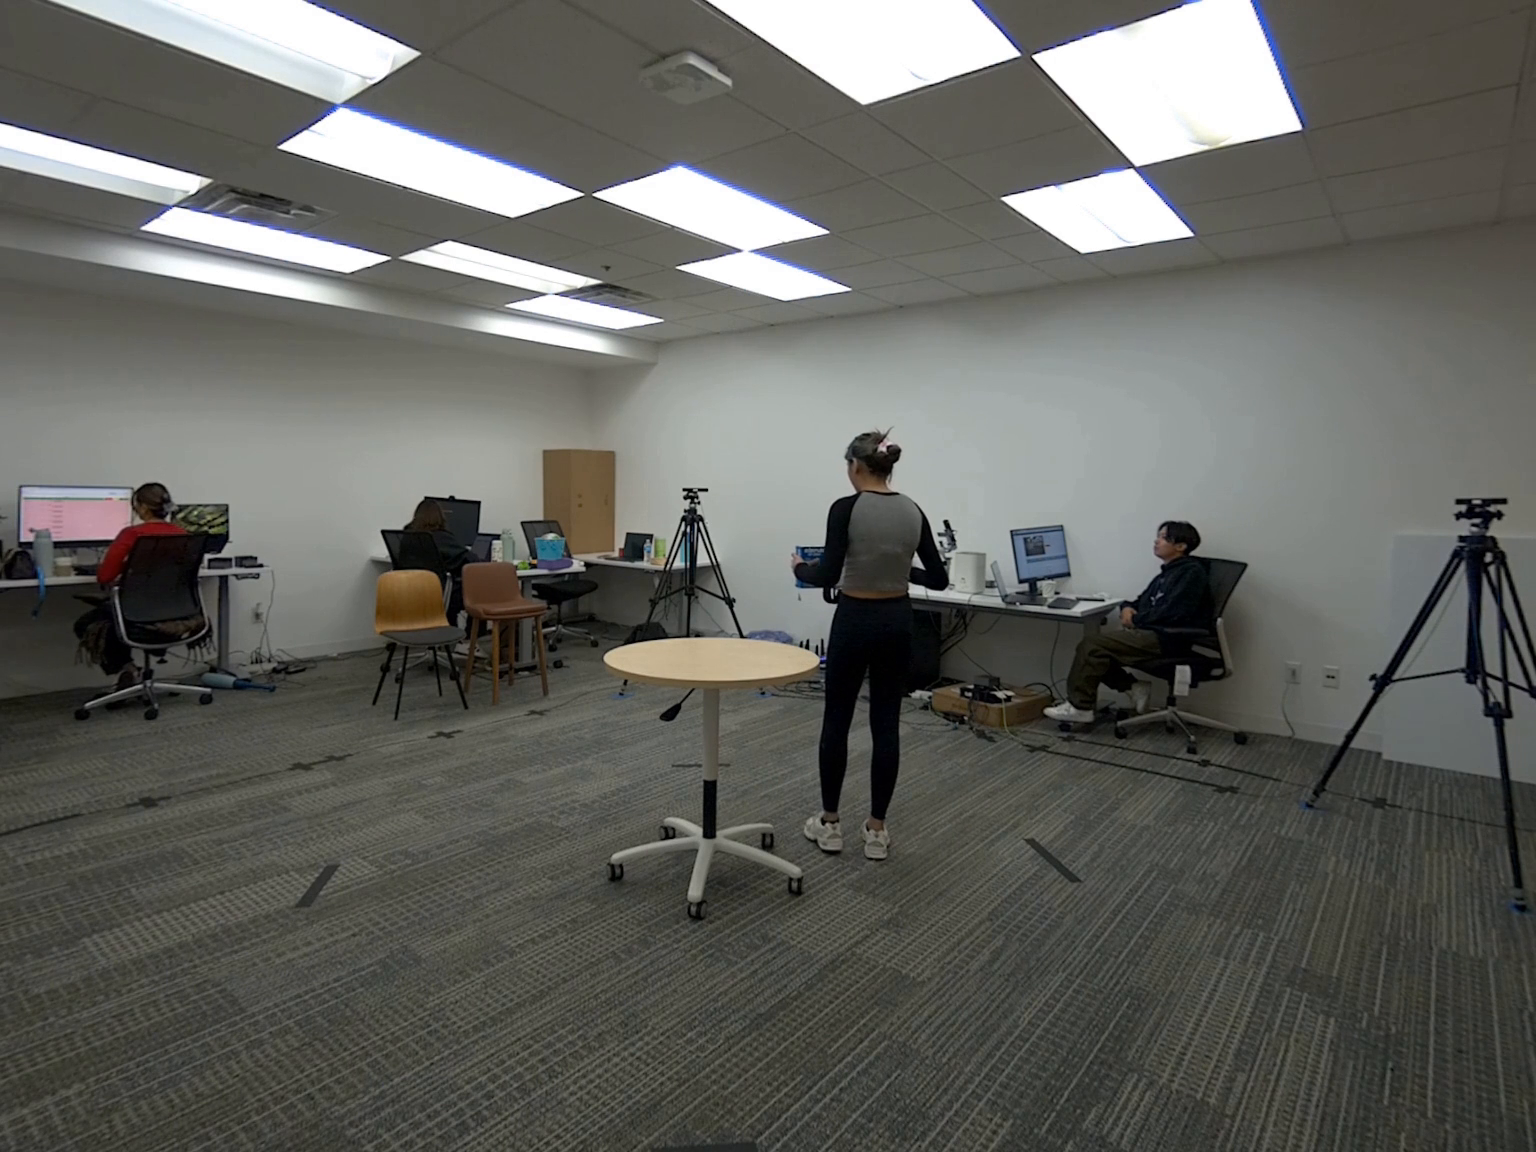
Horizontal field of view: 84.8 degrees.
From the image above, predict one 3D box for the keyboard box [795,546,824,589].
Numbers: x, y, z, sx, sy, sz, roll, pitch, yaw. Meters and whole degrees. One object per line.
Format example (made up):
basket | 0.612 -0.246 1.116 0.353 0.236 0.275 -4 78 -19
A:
keyboard box | 0.323 -0.041 3.531 0.429 0.175 0.060 -3 4 -18
